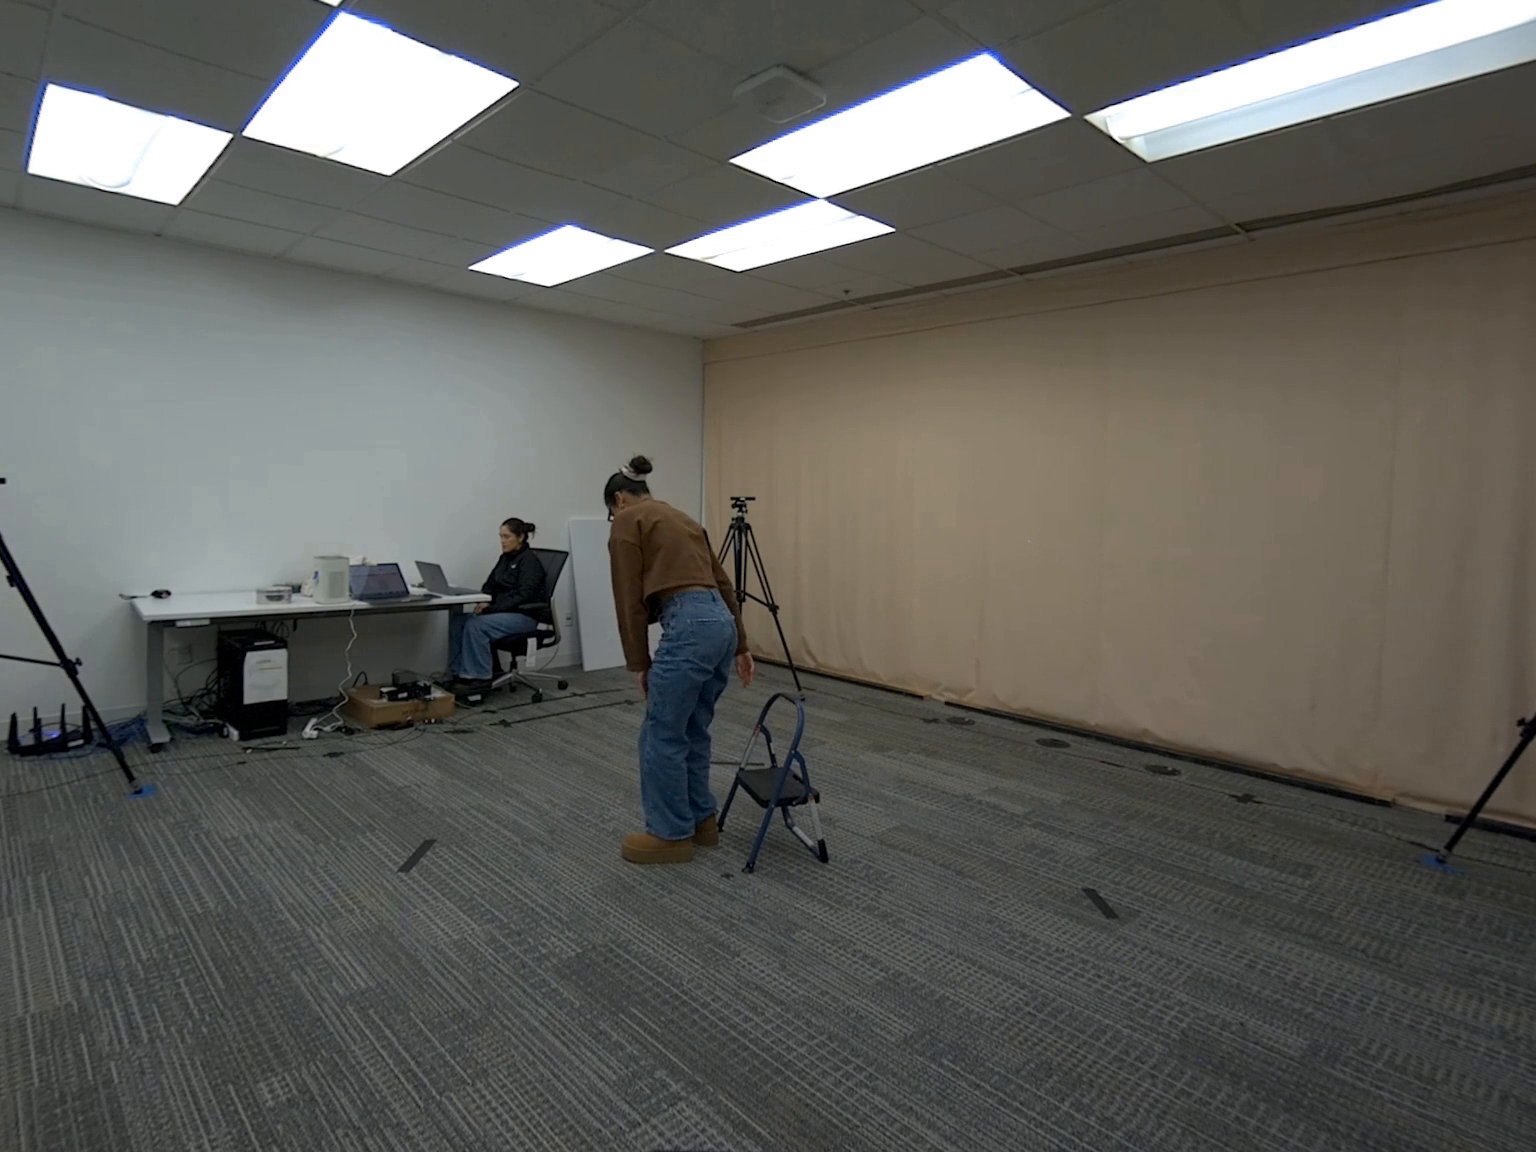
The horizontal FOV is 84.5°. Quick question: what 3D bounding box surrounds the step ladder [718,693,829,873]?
[{"bbox_3d":[-0.001,0.785,3.366,0.344,0.605,0.438,0,4,-19],"label":"step ladder"}]
